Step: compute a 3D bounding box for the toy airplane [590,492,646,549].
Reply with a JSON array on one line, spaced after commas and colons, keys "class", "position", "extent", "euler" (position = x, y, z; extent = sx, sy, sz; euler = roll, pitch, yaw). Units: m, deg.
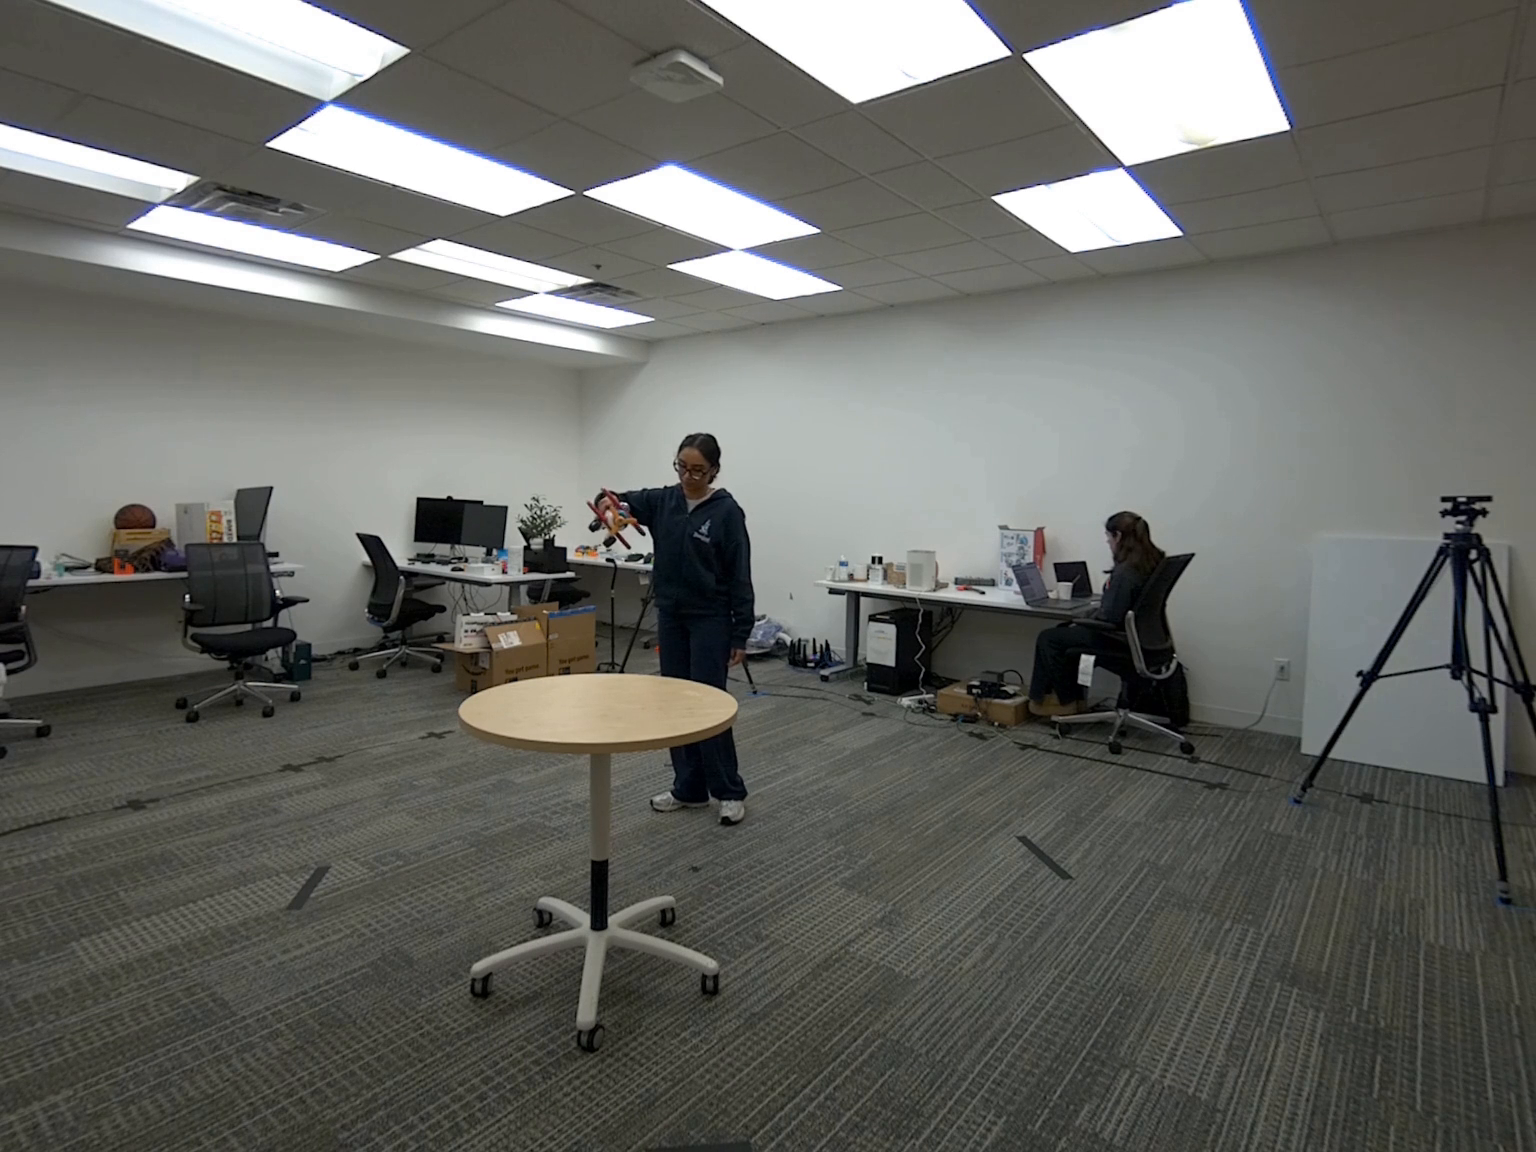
[{"class": "toy airplane", "position": [-0.648, -0.244, 3.395], "extent": [0.240, 0.156, 0.270], "euler": [44, 10, -45]}]
